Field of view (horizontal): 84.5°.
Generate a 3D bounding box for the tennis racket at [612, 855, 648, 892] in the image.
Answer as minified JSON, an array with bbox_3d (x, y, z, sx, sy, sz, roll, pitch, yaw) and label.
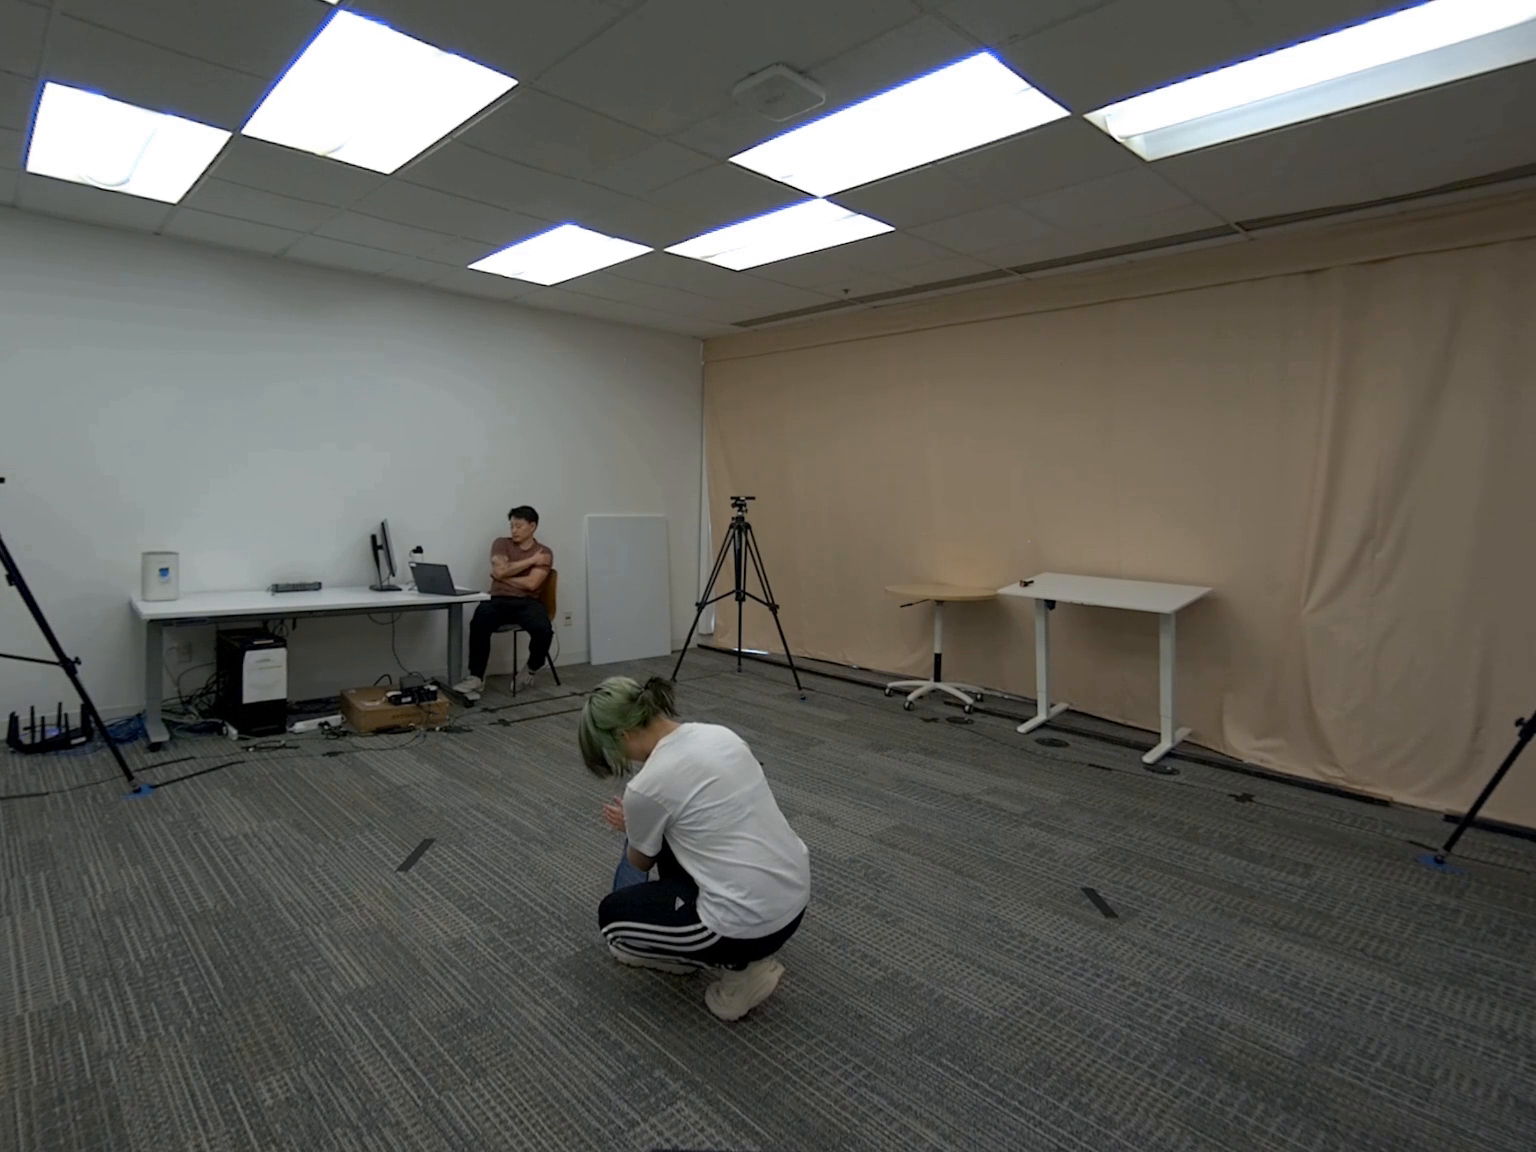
[{"bbox_3d":[-0.453,0.924,2.733,0.032,0.431,0.211,4,6,19],"label":"tennis racket"}]
